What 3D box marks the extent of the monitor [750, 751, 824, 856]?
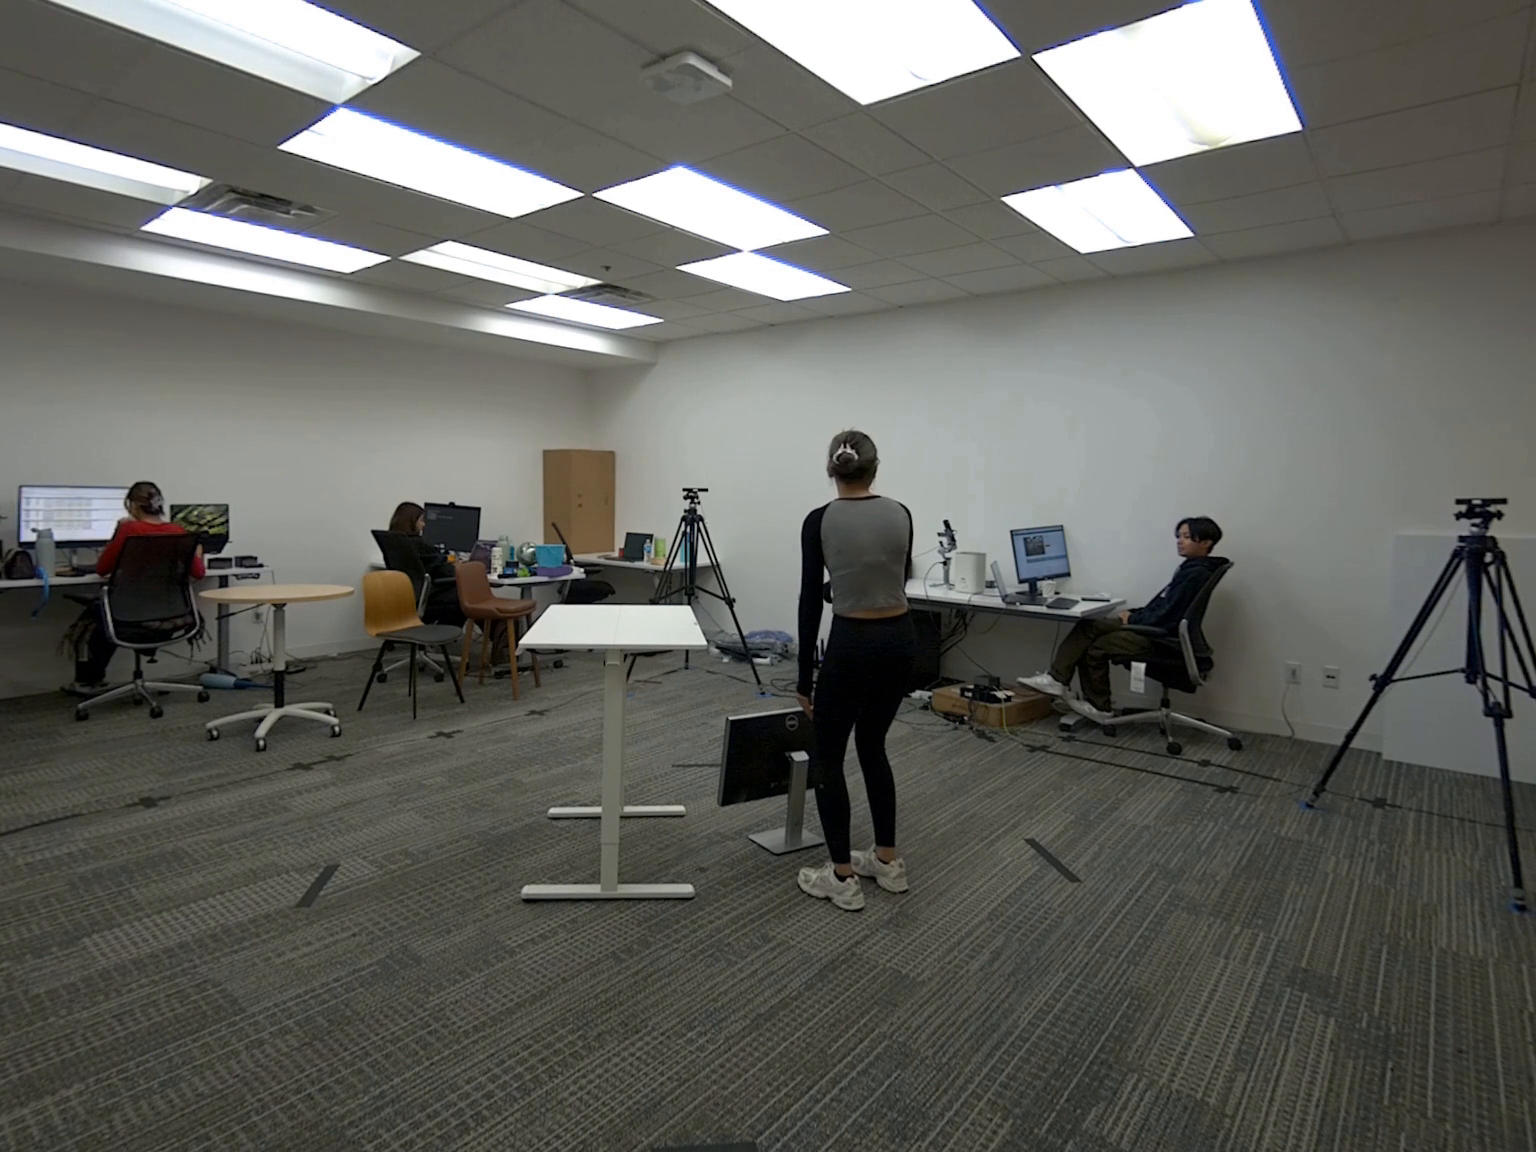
[{"bbox_3d":[0.075,0.793,3.369,0.524,0.522,0.192,-1,1,-33],"label":"monitor"}]
